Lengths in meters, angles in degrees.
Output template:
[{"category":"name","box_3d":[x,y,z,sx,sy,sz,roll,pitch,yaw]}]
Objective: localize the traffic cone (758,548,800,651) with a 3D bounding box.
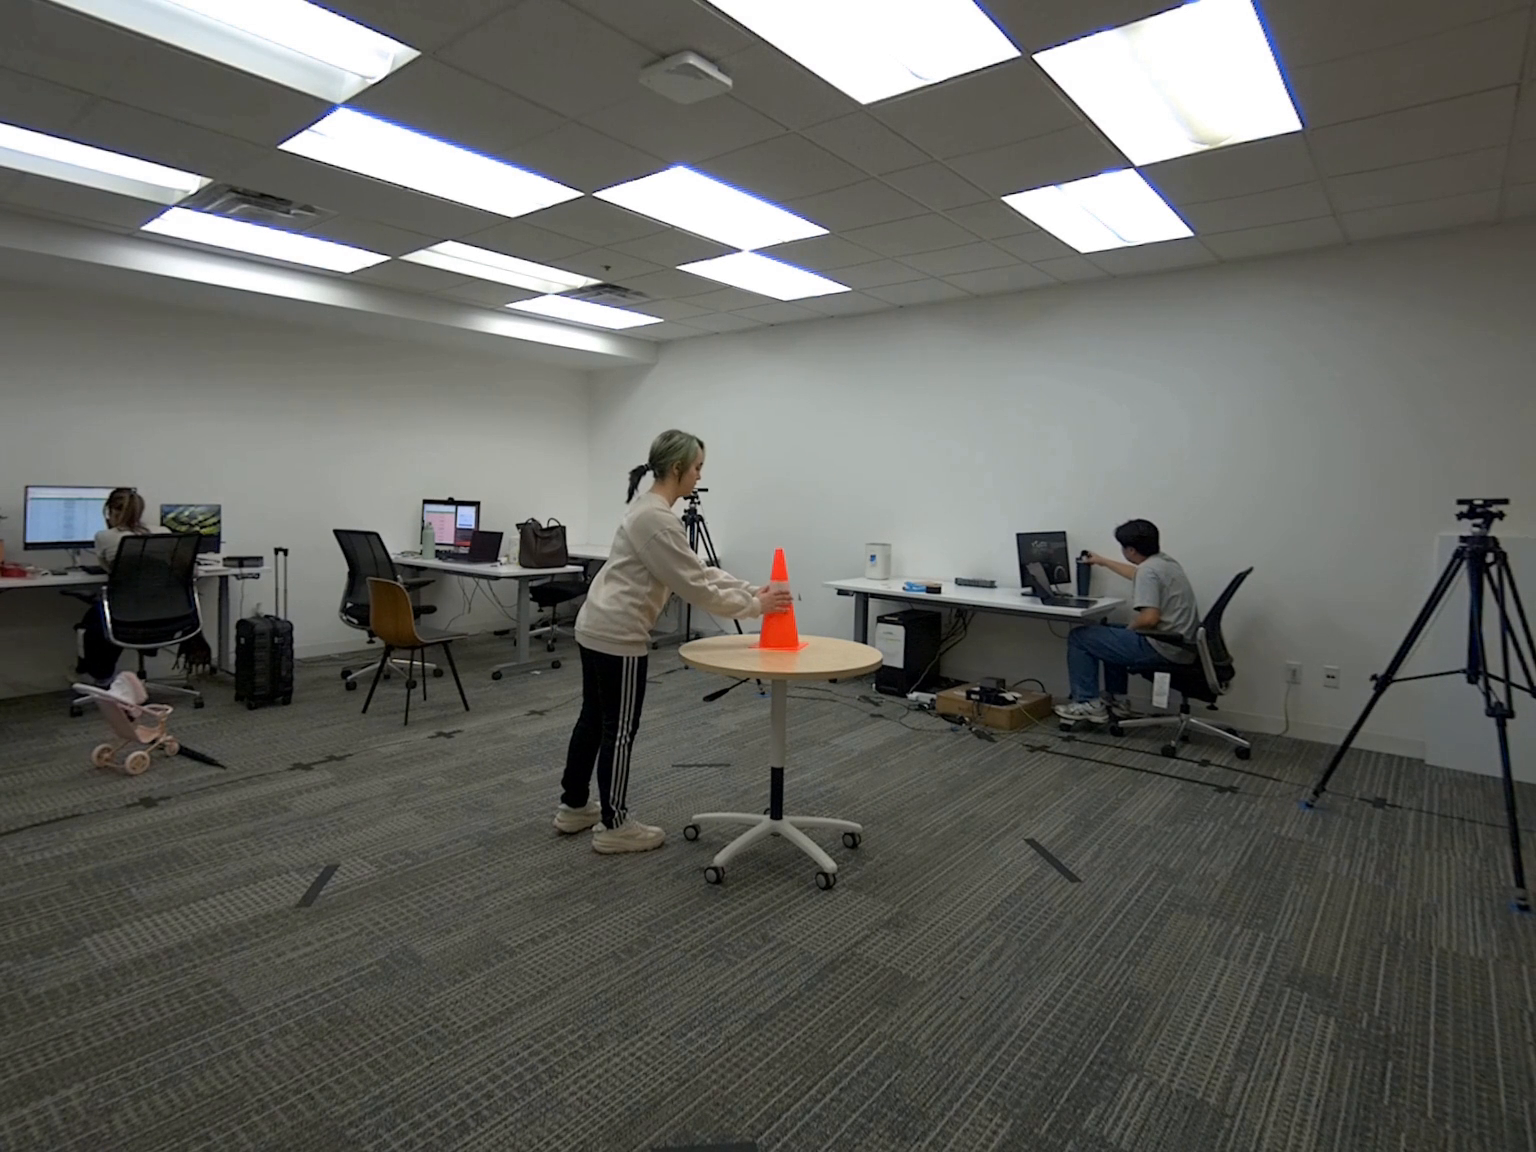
[{"category":"traffic cone","box_3d":[0.037,0.087,3.319,0.209,0.382,0.200,3,4,18]}]
